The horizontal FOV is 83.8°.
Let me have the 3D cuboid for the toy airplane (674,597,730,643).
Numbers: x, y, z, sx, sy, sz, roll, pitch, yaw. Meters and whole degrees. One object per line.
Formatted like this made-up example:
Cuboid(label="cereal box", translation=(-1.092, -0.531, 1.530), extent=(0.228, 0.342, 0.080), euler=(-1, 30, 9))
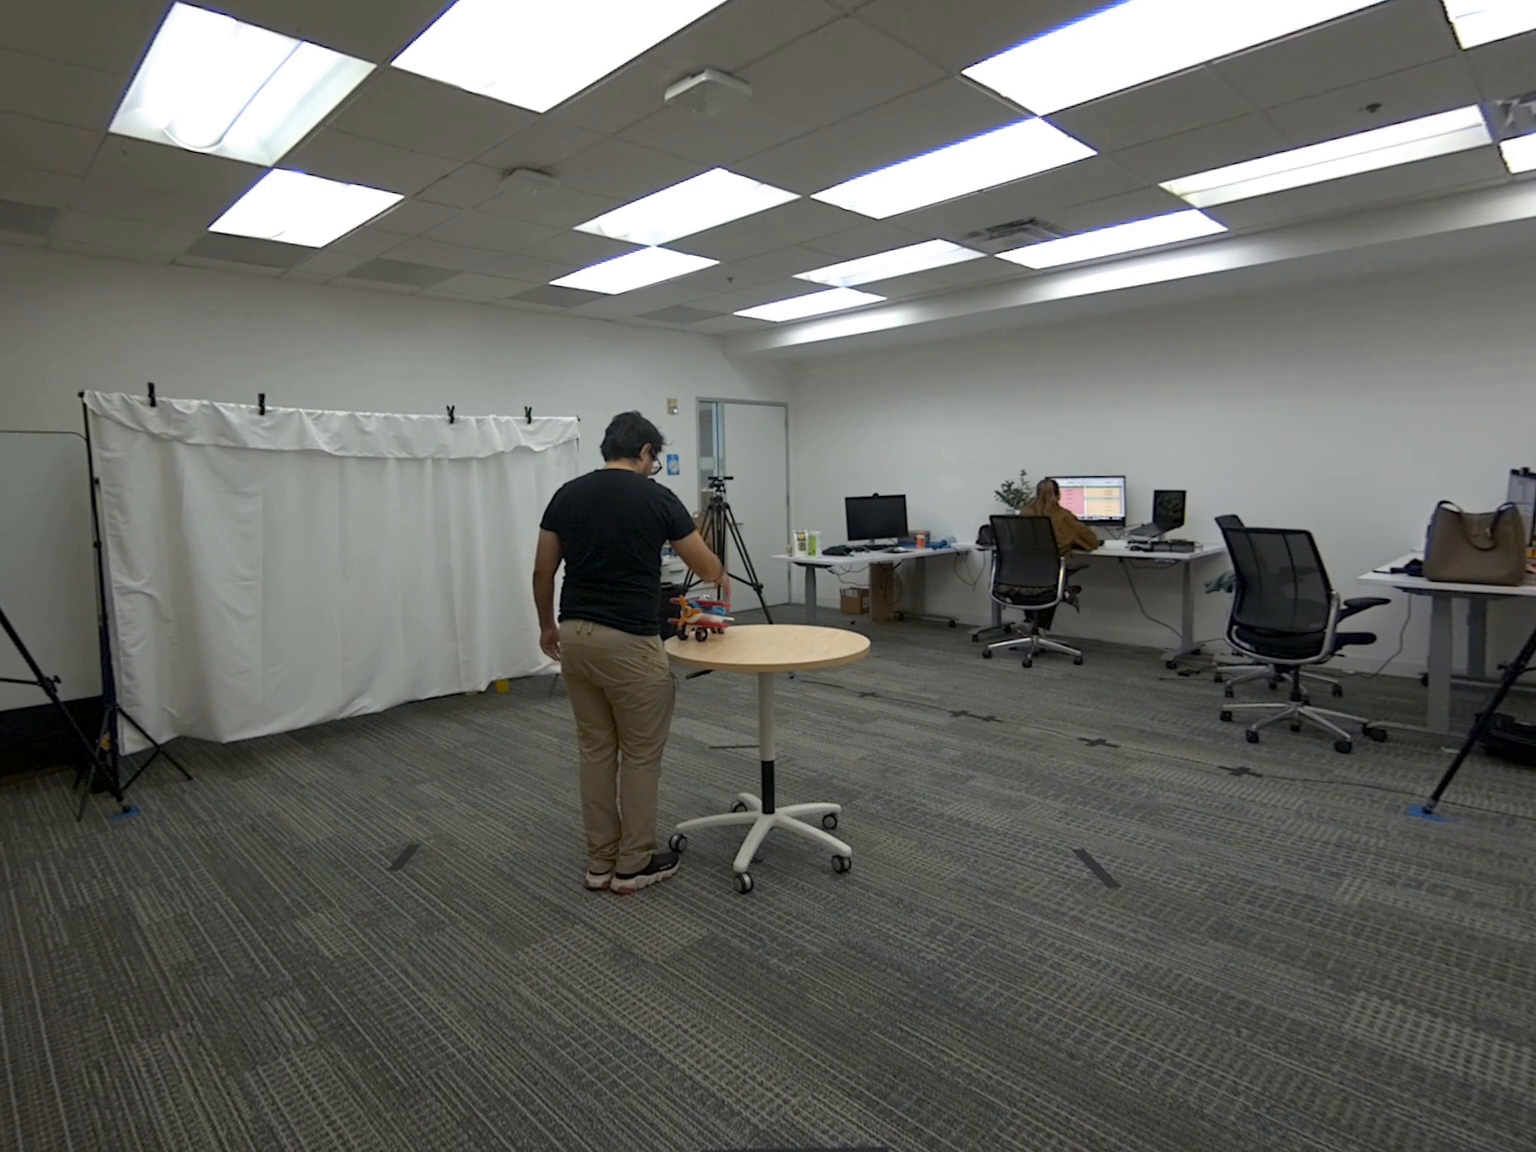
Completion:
Cuboid(label="toy airplane", translation=(-0.262, 0.158, 3.304), extent=(0.252, 0.155, 0.260), euler=(0, 7, 3))
